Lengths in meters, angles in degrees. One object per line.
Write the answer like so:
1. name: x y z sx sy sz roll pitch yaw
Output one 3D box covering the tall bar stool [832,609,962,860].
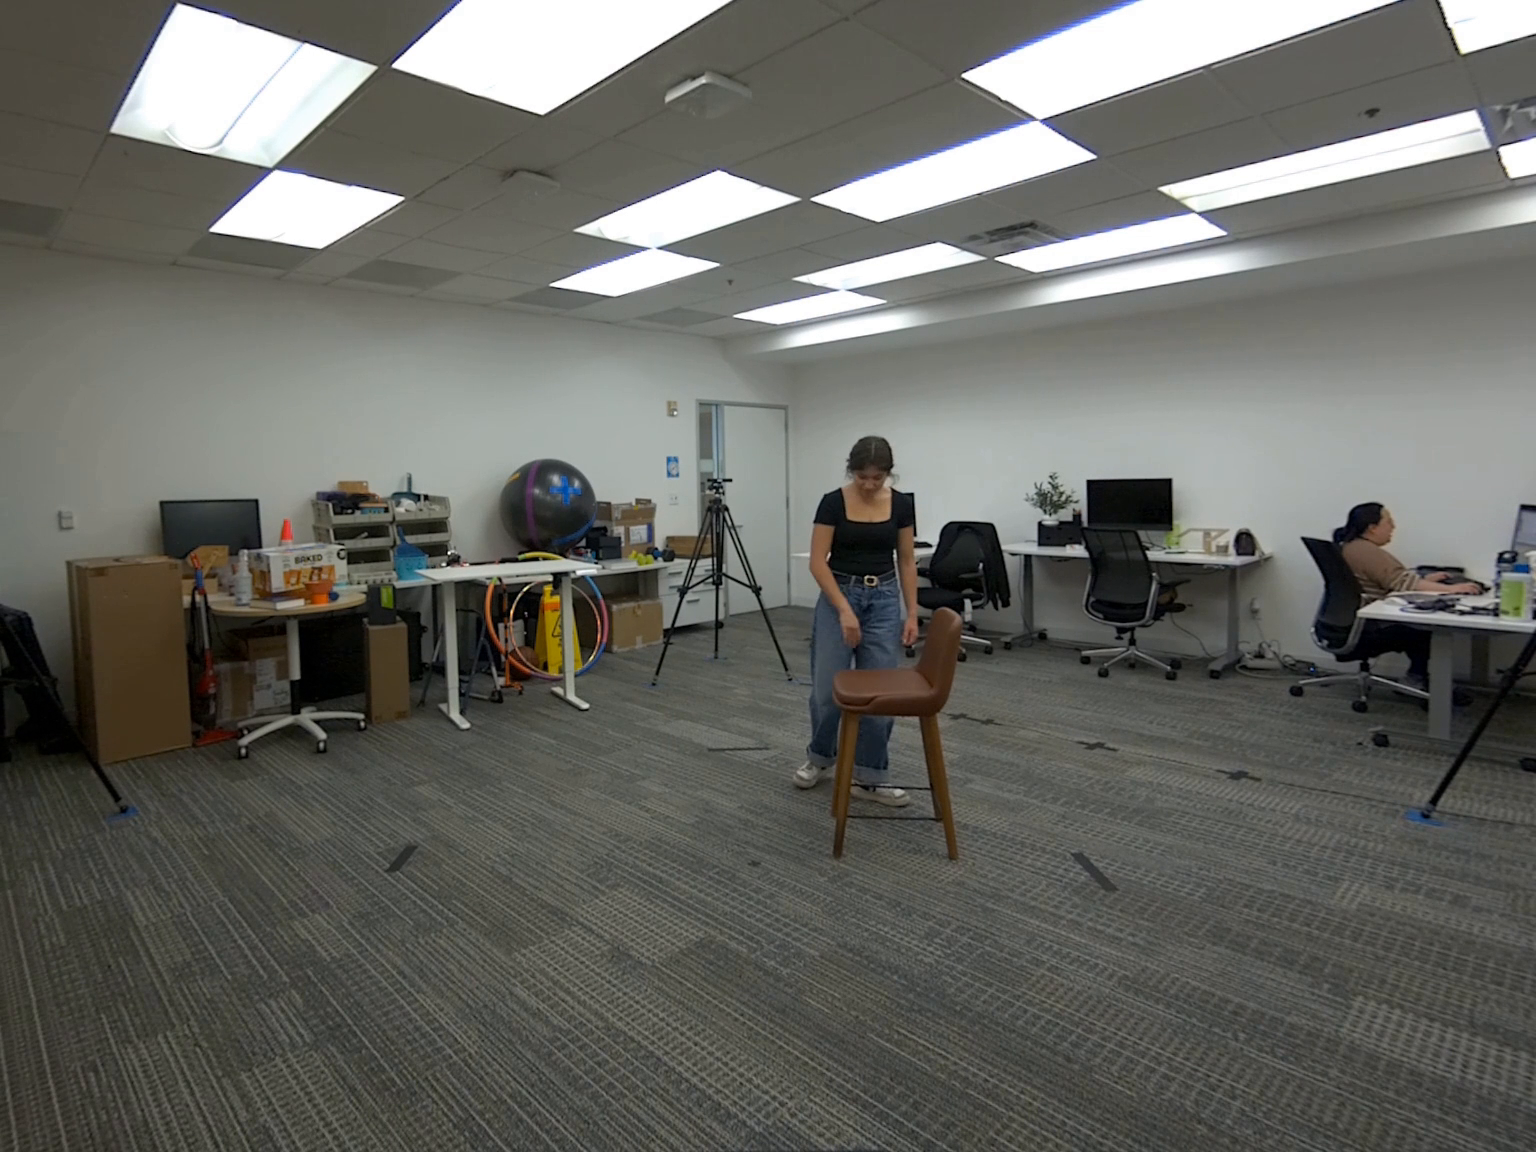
1. tall bar stool: 0.476 0.584 3.293 0.470 0.887 0.456 1 4 4
